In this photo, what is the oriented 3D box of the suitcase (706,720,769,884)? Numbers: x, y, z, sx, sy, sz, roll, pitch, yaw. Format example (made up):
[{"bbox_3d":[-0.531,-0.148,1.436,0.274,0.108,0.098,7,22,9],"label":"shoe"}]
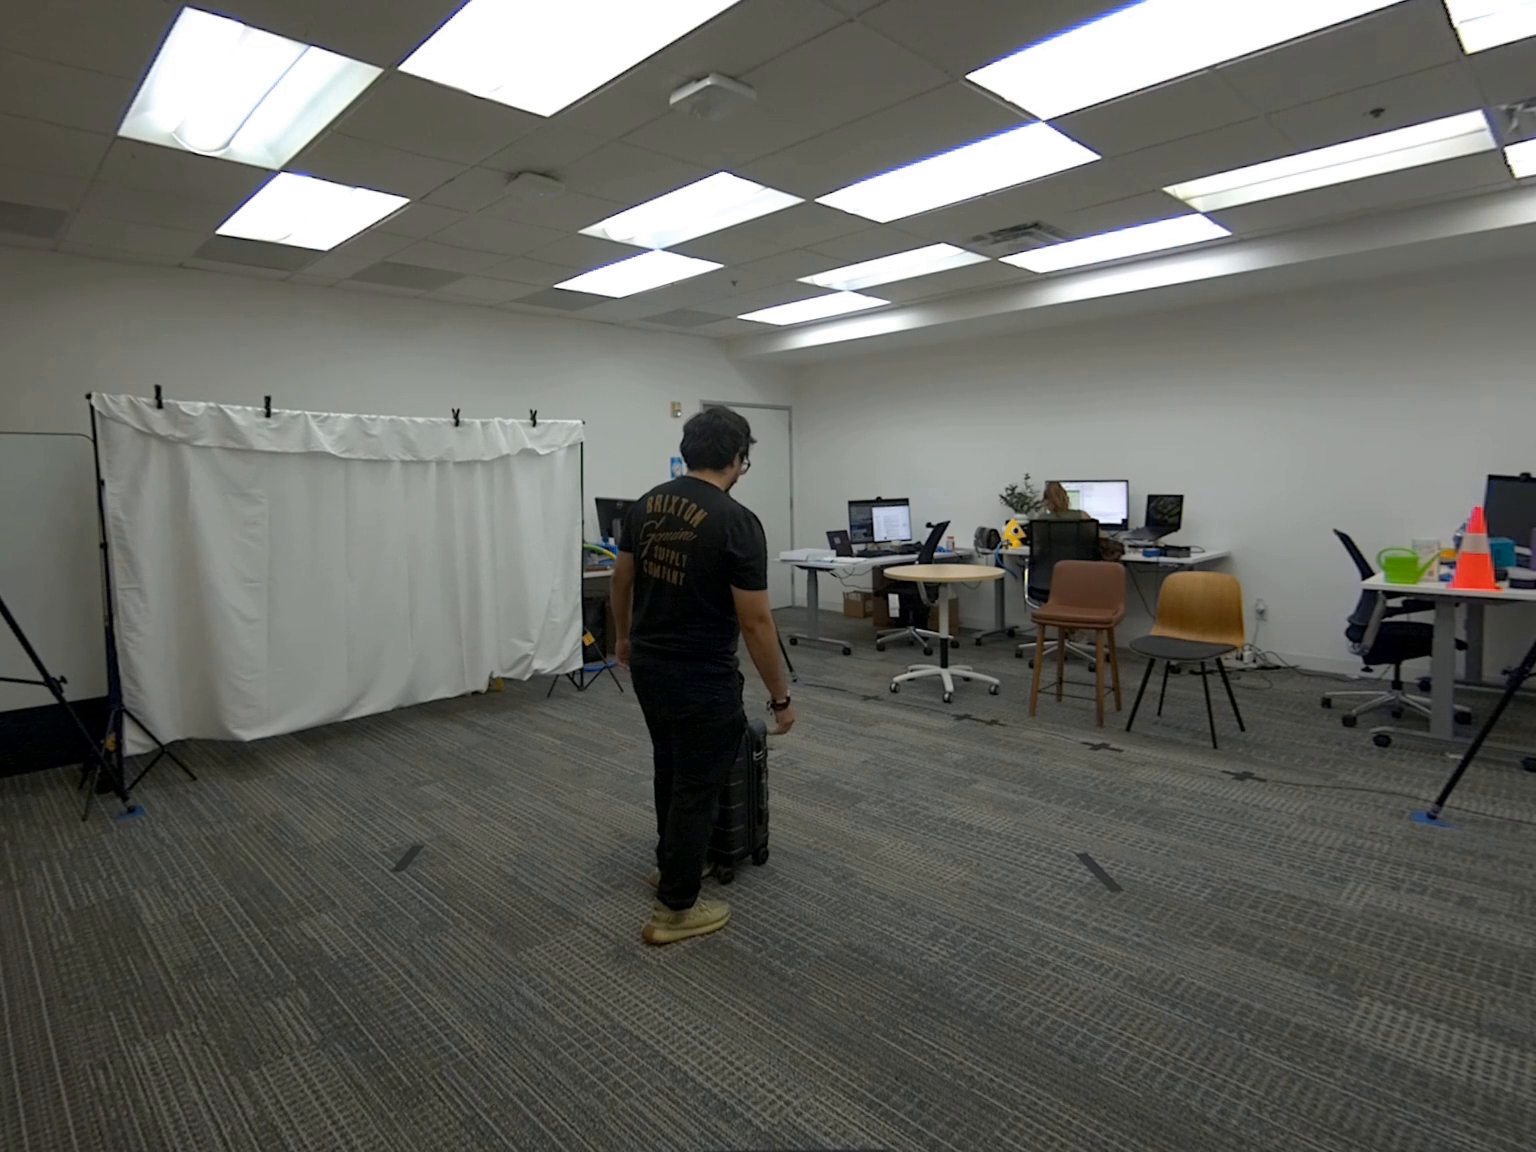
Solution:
[{"bbox_3d":[-0.187,0.770,3.130,0.386,0.548,0.242,3,5,38],"label":"suitcase"}]
